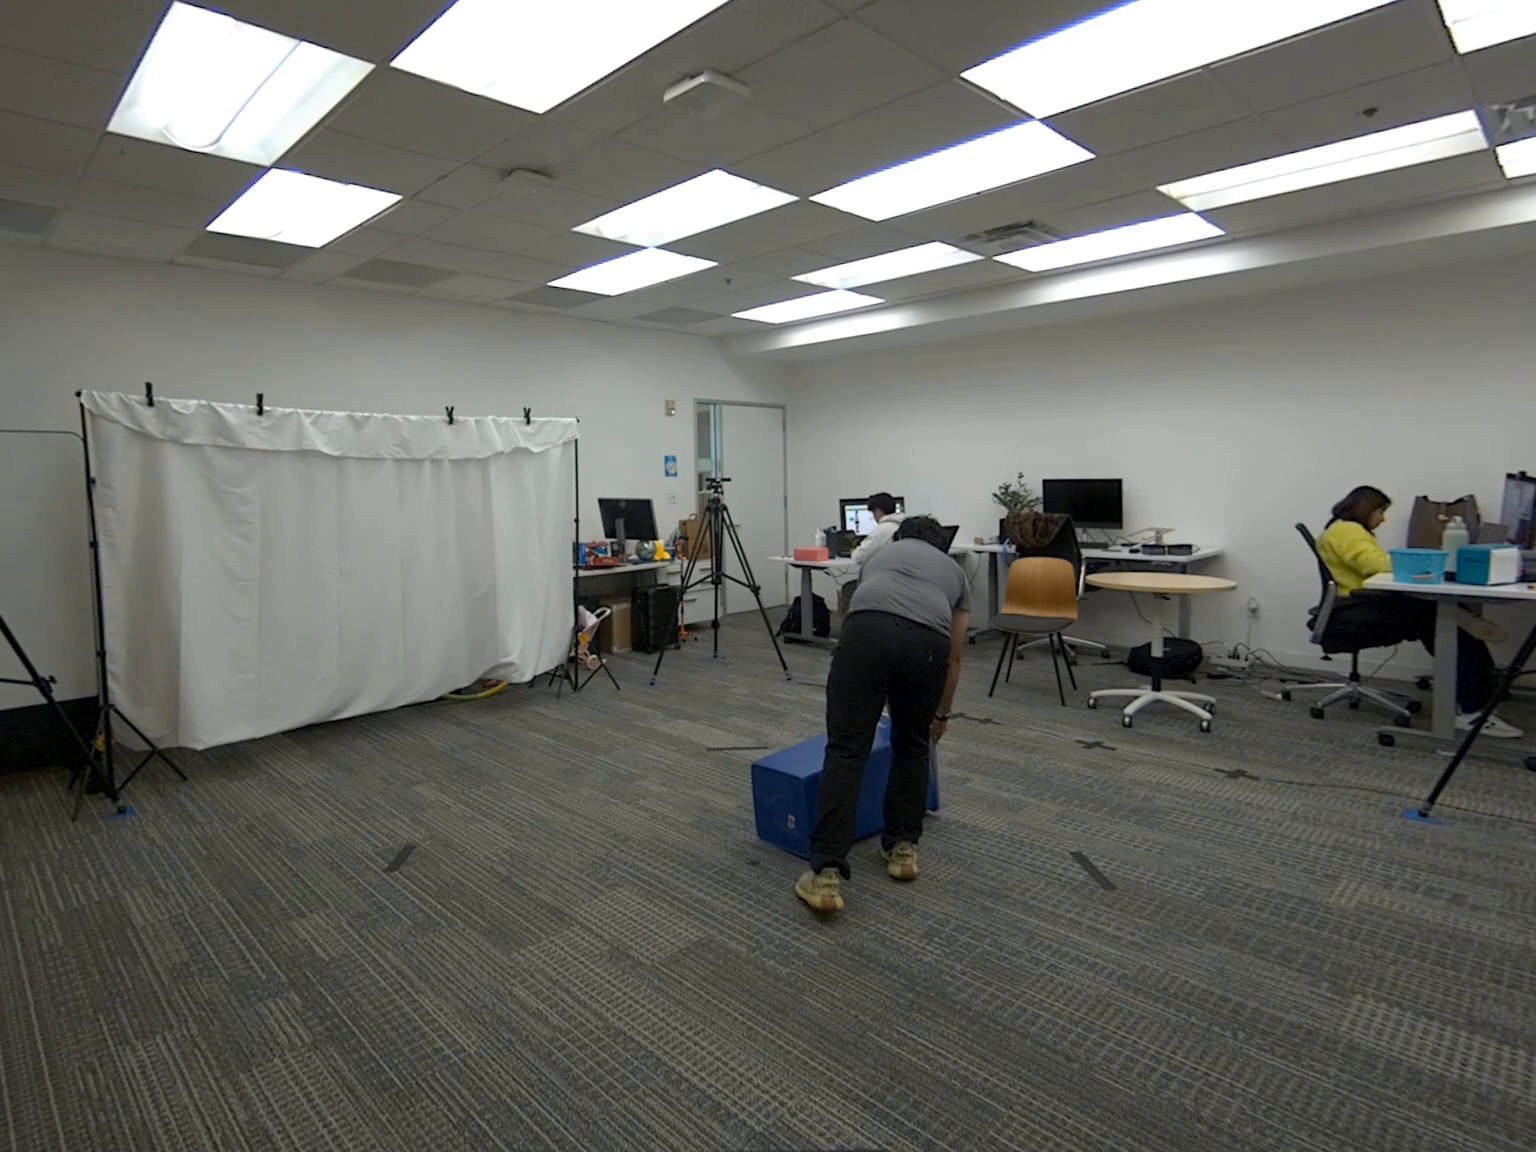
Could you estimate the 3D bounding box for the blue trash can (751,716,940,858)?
[{"bbox_3d":[0.311,0.822,3.417,0.696,0.372,0.389,-9,7,-39],"label":"blue trash can"}]
